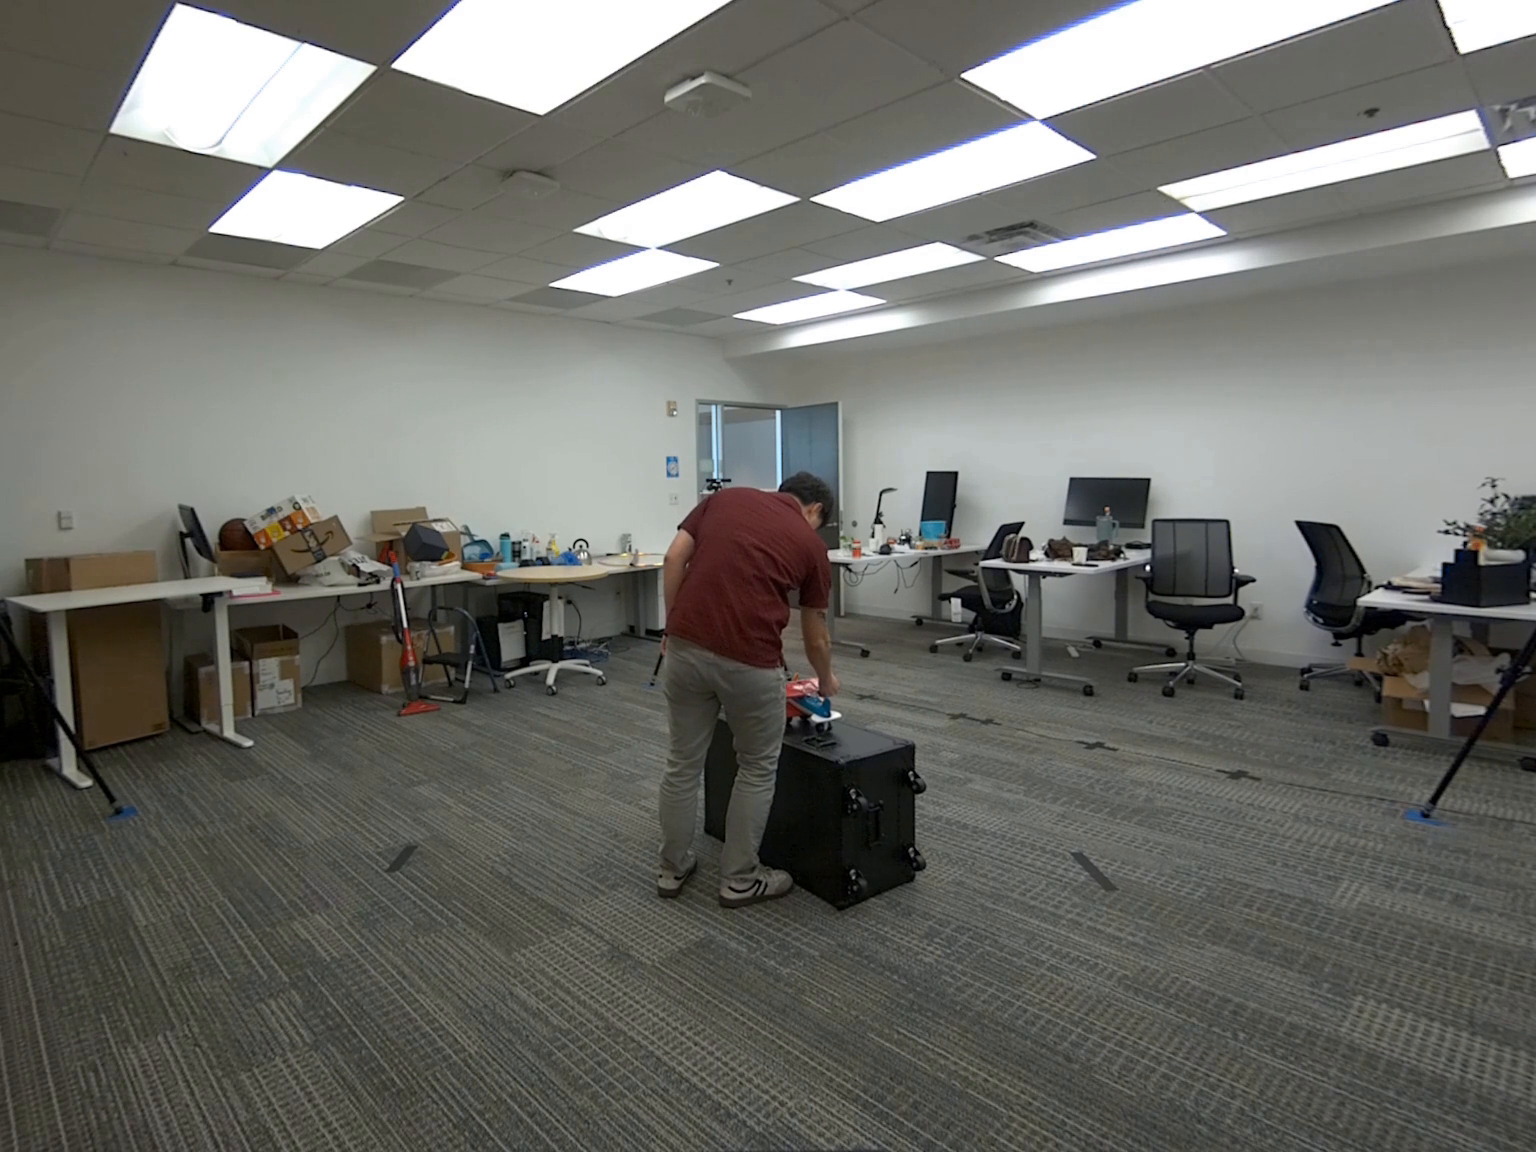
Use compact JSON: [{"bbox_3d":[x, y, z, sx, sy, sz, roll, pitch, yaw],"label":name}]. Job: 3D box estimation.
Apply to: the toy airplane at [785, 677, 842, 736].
[{"bbox_3d":[0.166,0.477,3.145,0.266,0.156,0.245,0,5,32],"label":"toy airplane"}]
